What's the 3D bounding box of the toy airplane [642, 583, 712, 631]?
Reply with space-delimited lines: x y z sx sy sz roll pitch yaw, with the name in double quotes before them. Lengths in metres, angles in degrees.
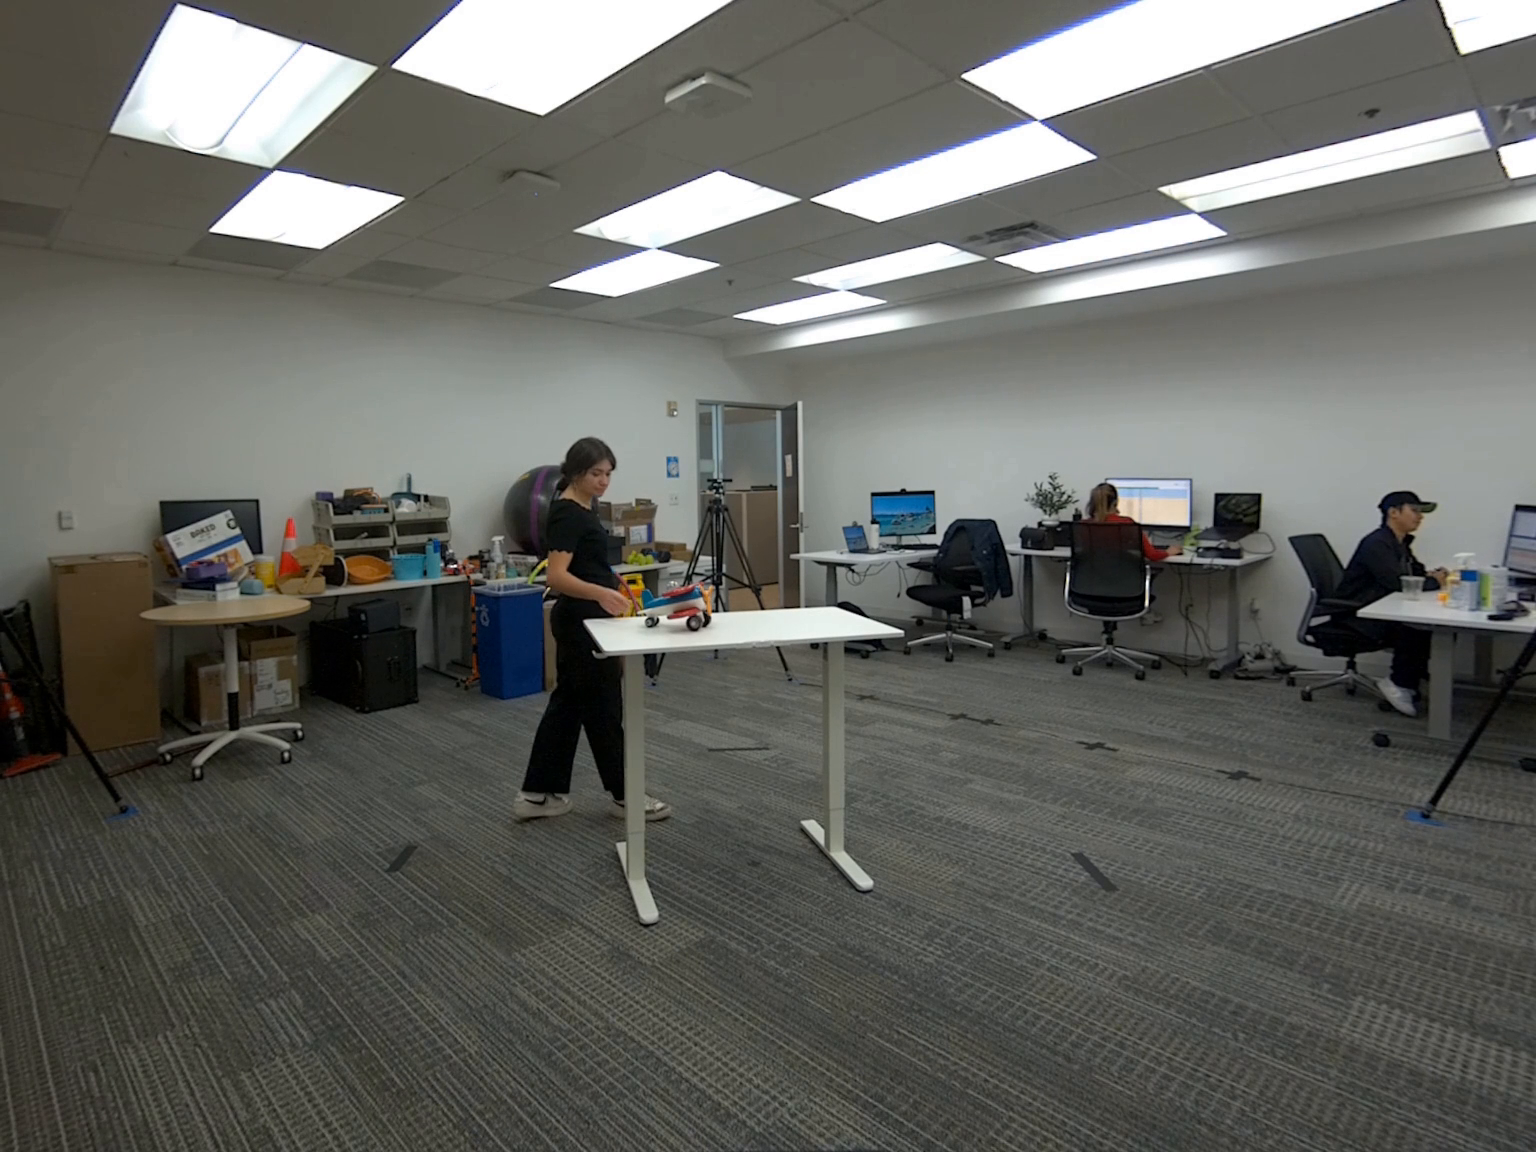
"toy airplane" -0.321 0.107 2.950 0.257 0.156 0.254 -1 4 -11
